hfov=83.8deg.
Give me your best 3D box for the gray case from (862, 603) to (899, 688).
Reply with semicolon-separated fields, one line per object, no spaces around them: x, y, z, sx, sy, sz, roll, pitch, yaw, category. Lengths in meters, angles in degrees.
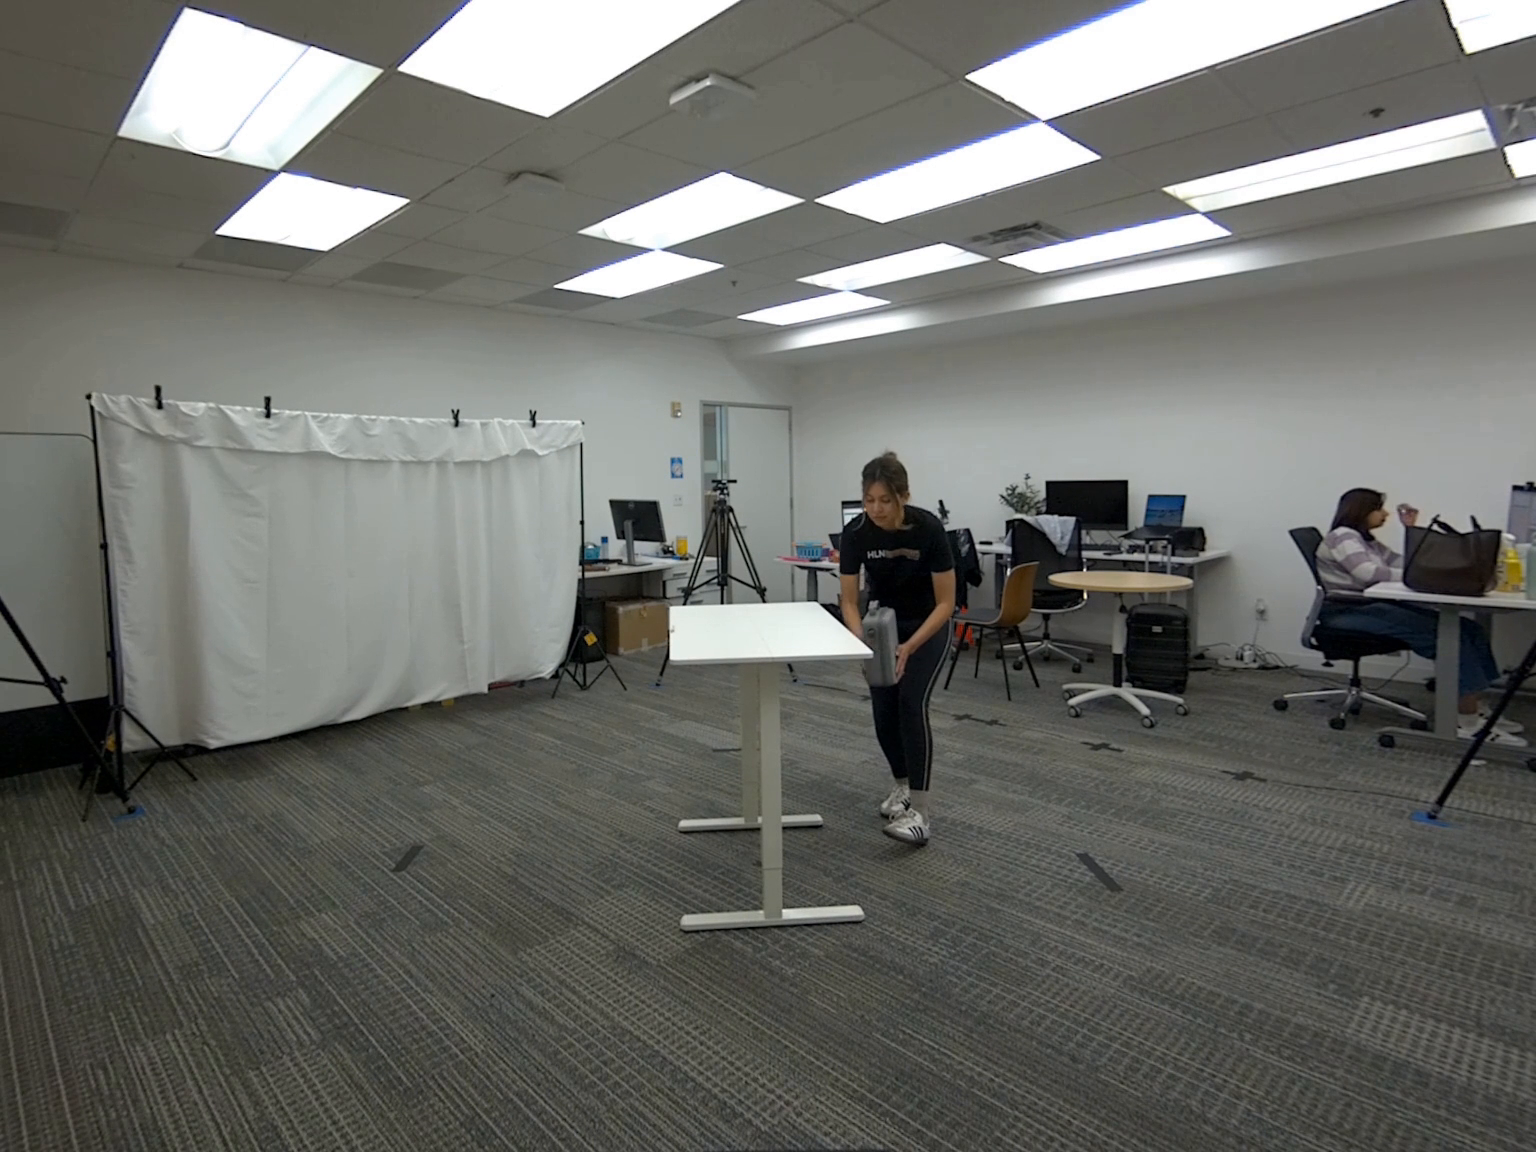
0.420;0.259;3.178;0.106;0.259;0.254;-2;5;15;gray case
